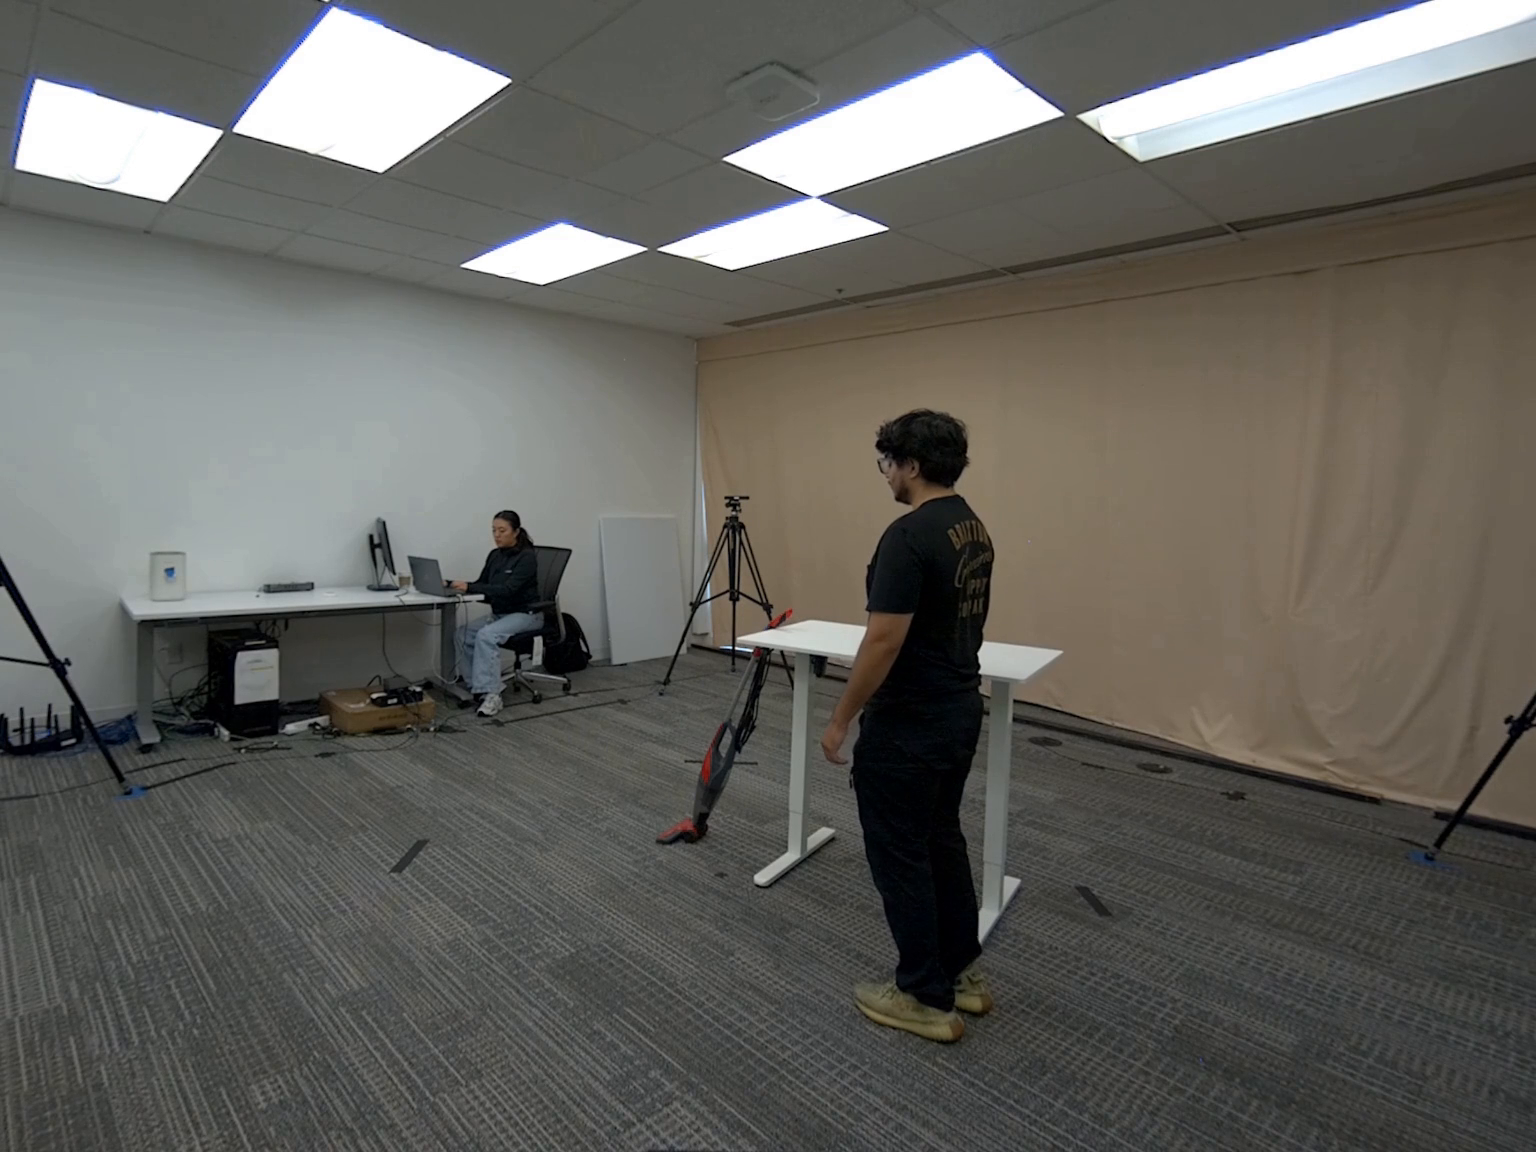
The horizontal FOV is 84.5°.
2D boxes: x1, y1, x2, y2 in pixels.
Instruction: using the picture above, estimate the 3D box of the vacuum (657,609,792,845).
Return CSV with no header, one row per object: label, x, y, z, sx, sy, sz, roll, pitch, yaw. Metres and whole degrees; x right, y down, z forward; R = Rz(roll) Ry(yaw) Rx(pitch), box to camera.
vacuum,-0.144,0.605,3.347,0.147,1.044,0.248,28,14,20
